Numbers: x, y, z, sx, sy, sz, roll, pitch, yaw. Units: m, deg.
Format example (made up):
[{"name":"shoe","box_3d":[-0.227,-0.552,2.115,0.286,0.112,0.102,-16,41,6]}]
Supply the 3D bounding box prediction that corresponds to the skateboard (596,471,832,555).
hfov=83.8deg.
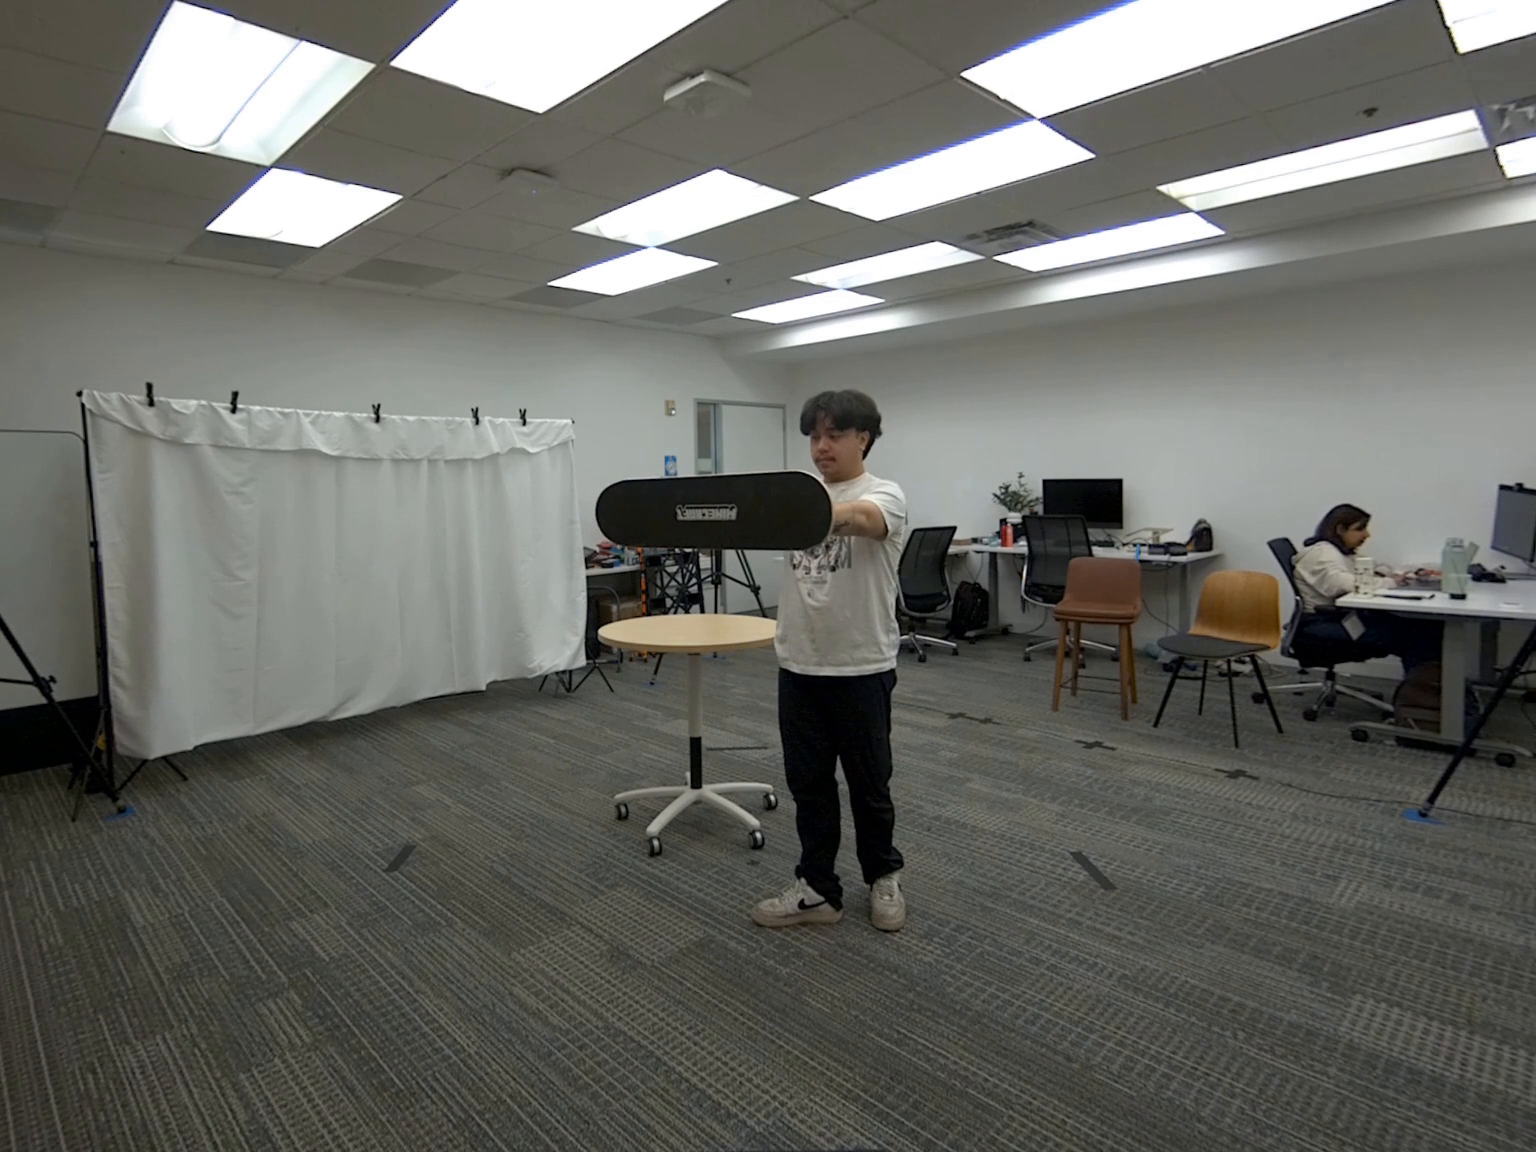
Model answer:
[{"name":"skateboard","box_3d":[-0.146,-0.163,2.229,0.808,0.193,0.107,3,6,38]}]
